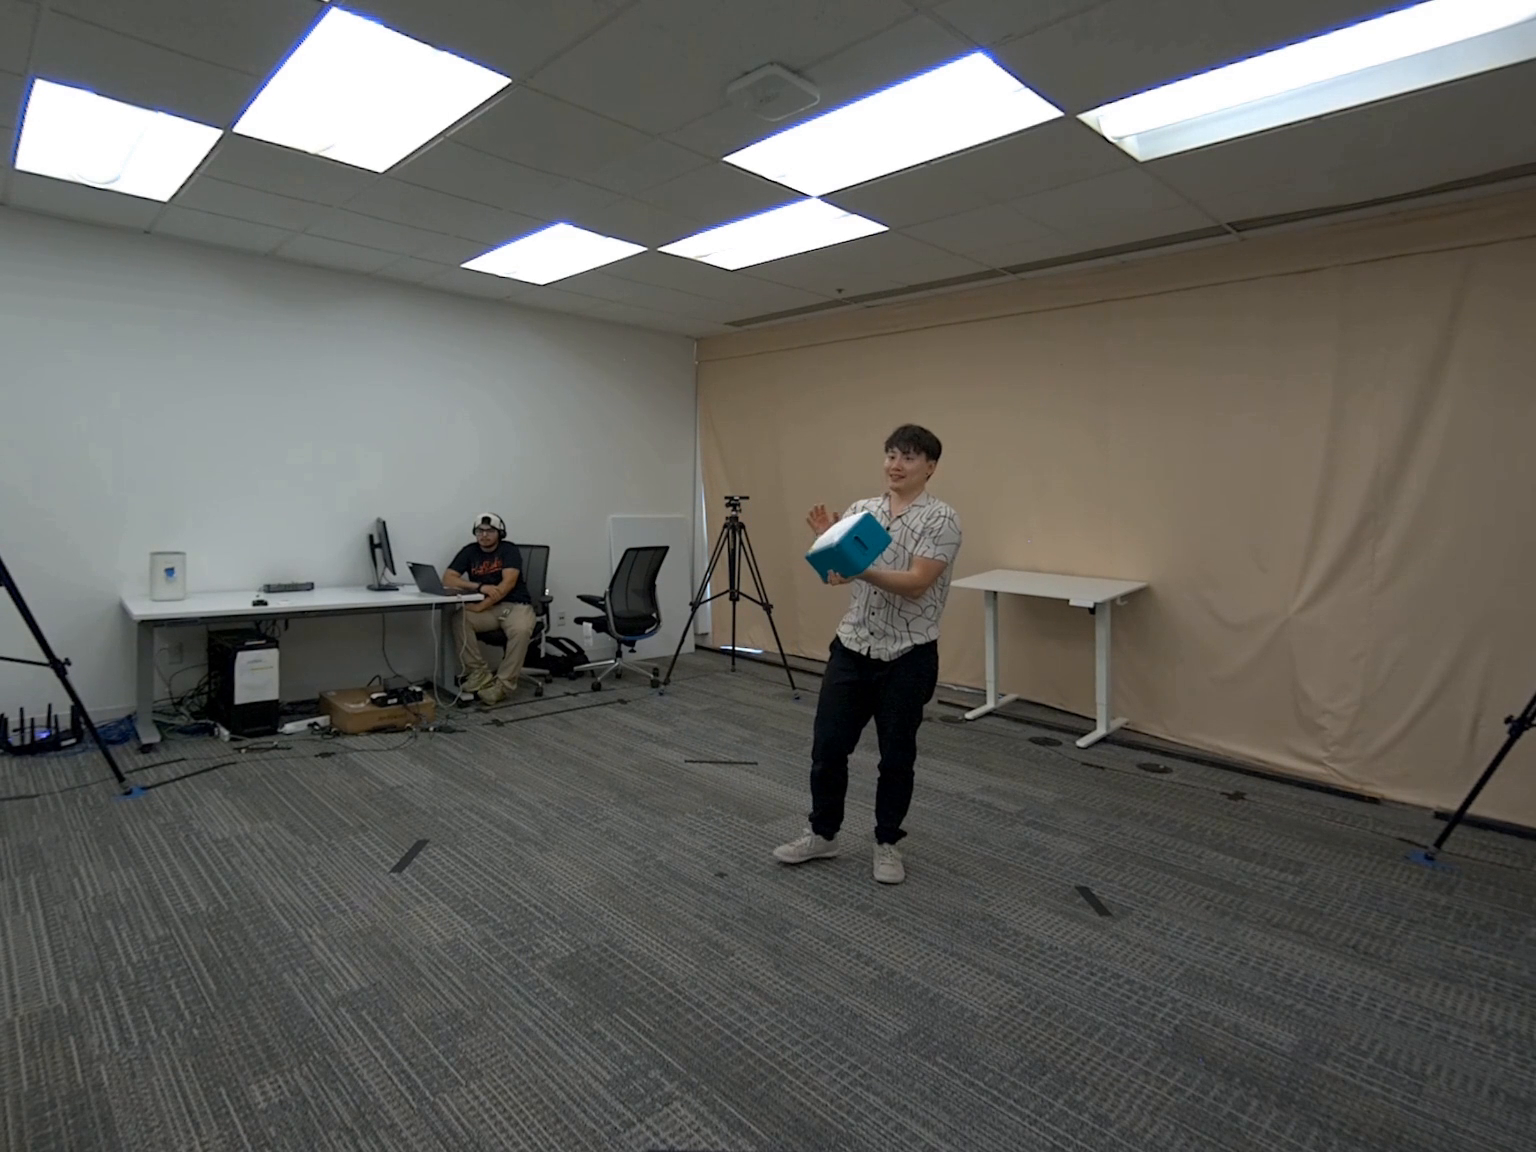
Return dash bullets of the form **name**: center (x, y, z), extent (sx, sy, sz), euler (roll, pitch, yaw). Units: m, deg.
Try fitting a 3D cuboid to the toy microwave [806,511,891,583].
- **toy microwave**: center (0.253, -0.101, 2.817), extent (0.184, 0.151, 0.288), euler (-45, 8, -19)
